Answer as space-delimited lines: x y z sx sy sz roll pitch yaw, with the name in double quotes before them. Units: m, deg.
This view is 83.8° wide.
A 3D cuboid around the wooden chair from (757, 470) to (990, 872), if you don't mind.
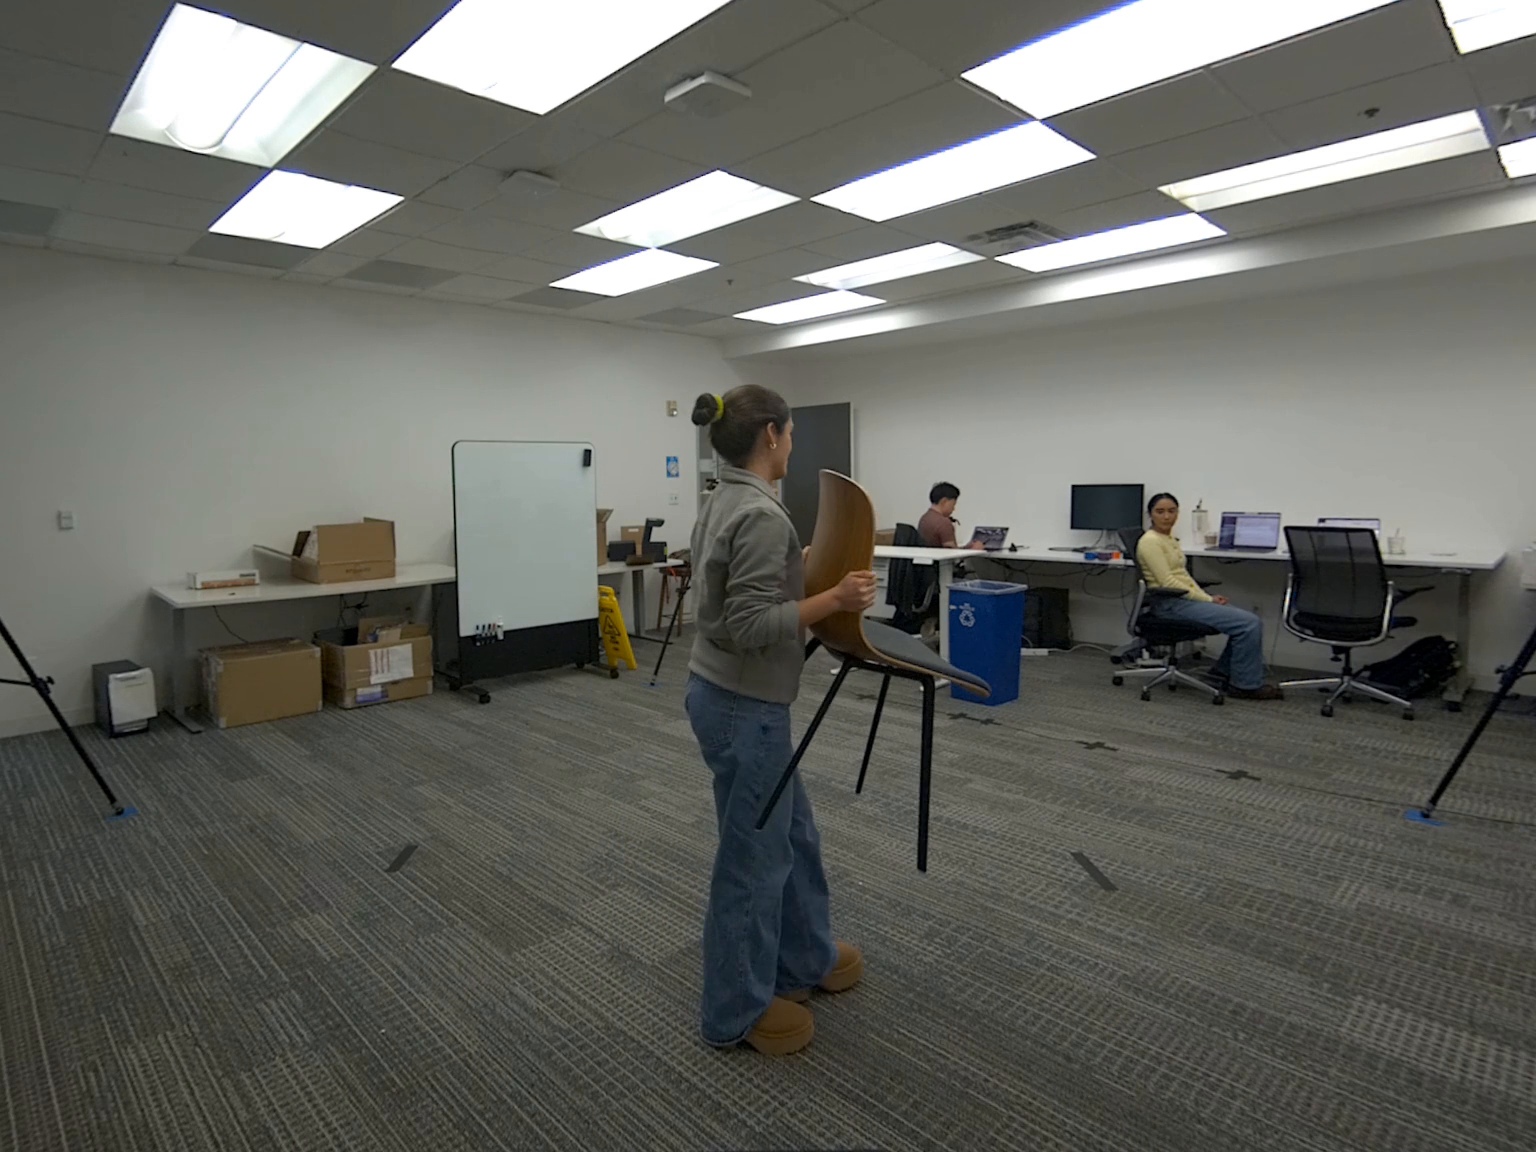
"wooden chair" 0.275 0.222 2.221 0.515 0.875 0.487 14 5 -15
